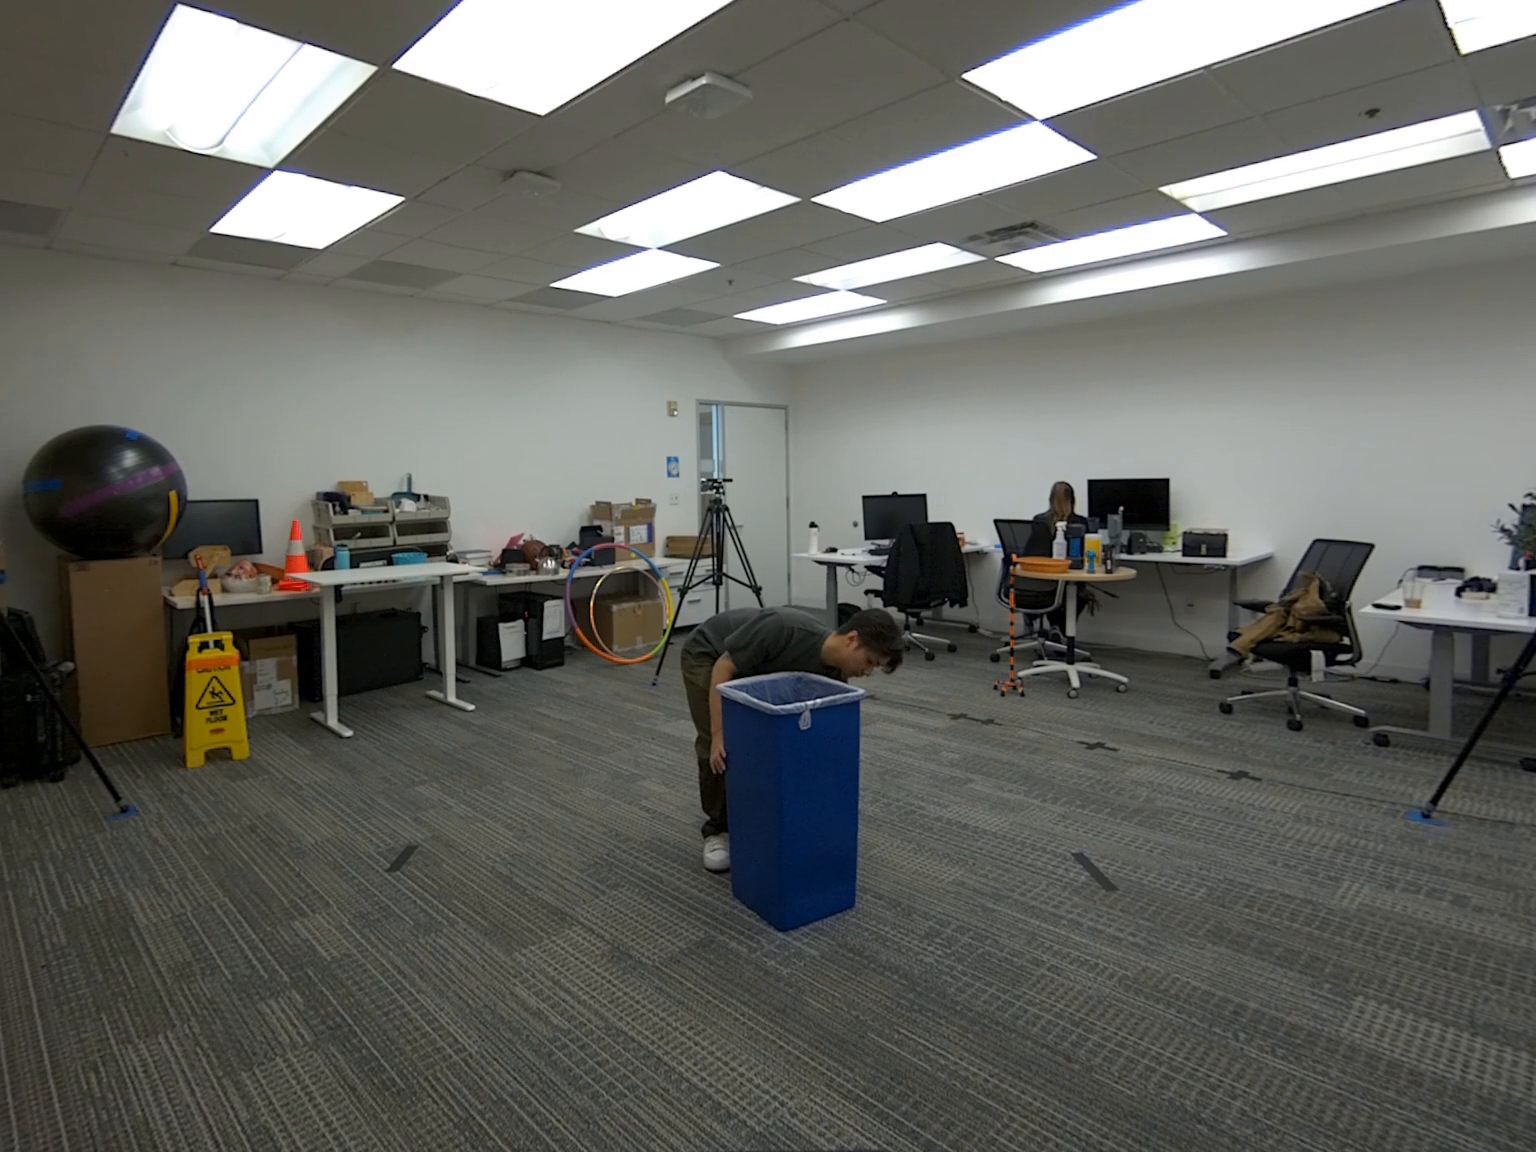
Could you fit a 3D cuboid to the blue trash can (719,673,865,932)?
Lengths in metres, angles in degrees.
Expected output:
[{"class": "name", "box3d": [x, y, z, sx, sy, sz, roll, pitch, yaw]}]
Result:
[{"class": "blue trash can", "box3d": [0.072, 0.724, 2.798, 0.364, 0.712, 0.389, -3, 4, -35]}]
